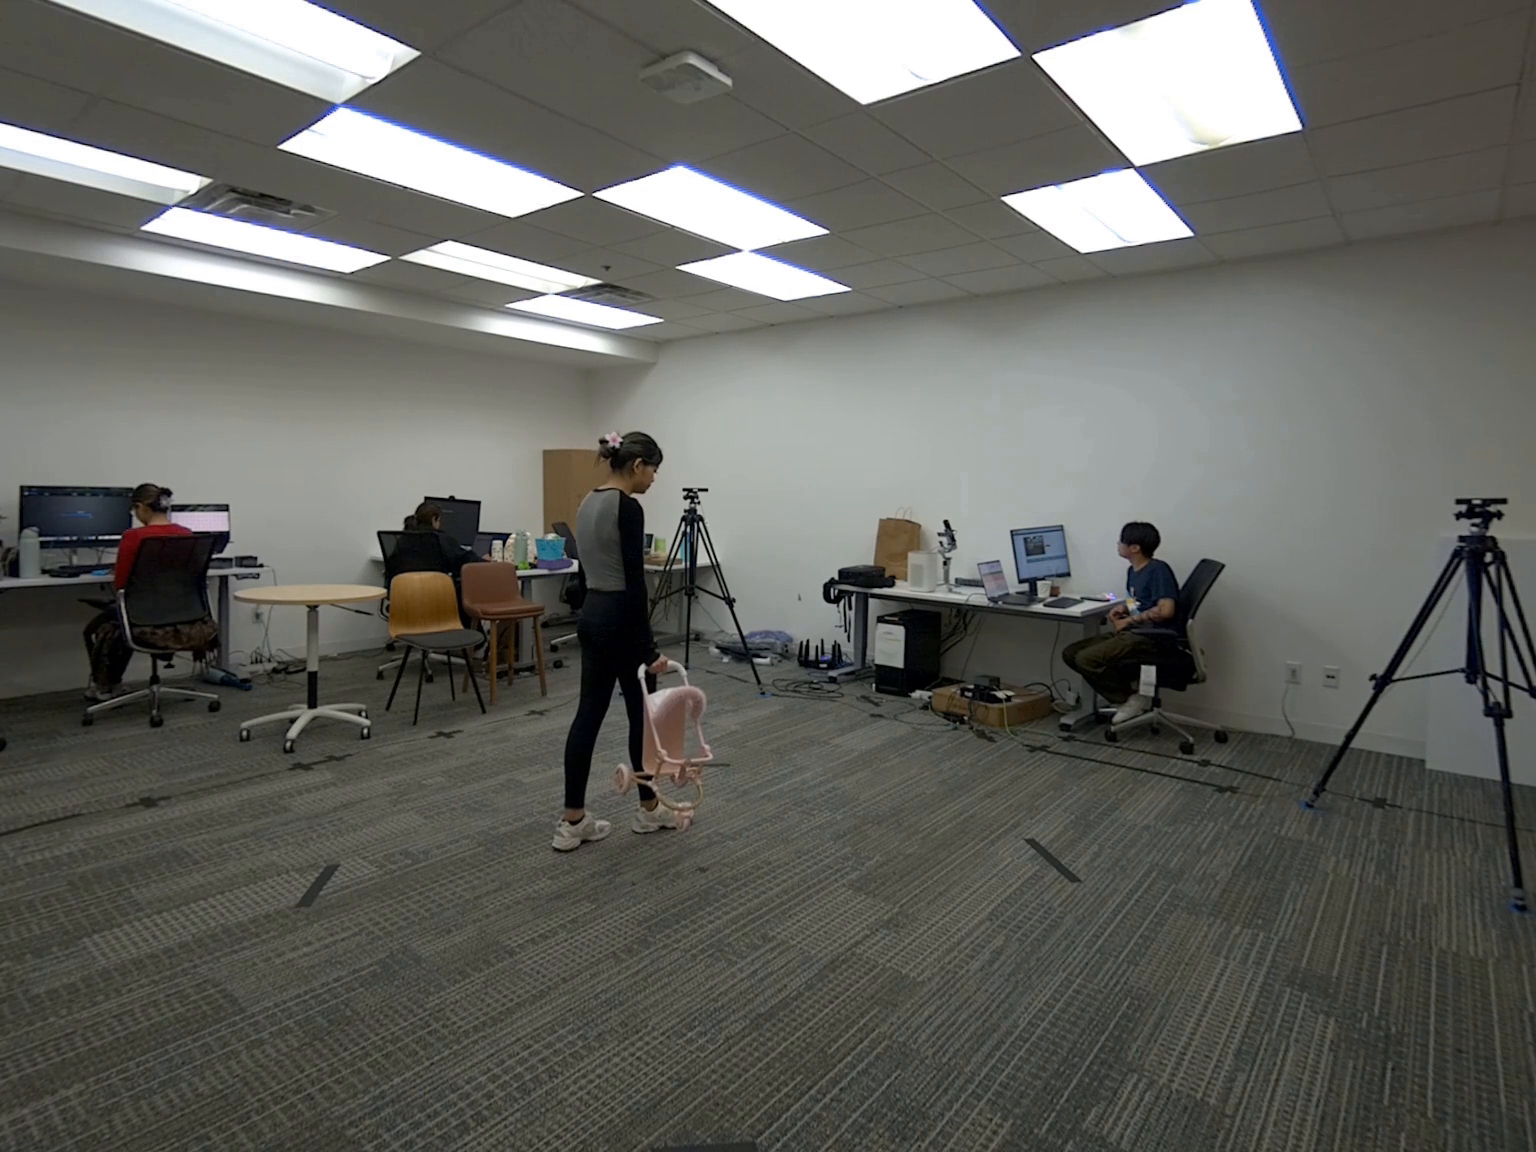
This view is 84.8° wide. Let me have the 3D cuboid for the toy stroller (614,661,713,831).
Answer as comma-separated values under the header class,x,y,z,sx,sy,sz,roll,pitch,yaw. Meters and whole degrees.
class,x,y,z,sx,sy,sz,roll,pitch,yaw
toy stroller,-0.358,0.614,3.080,0.272,0.533,0.353,7,4,-34
